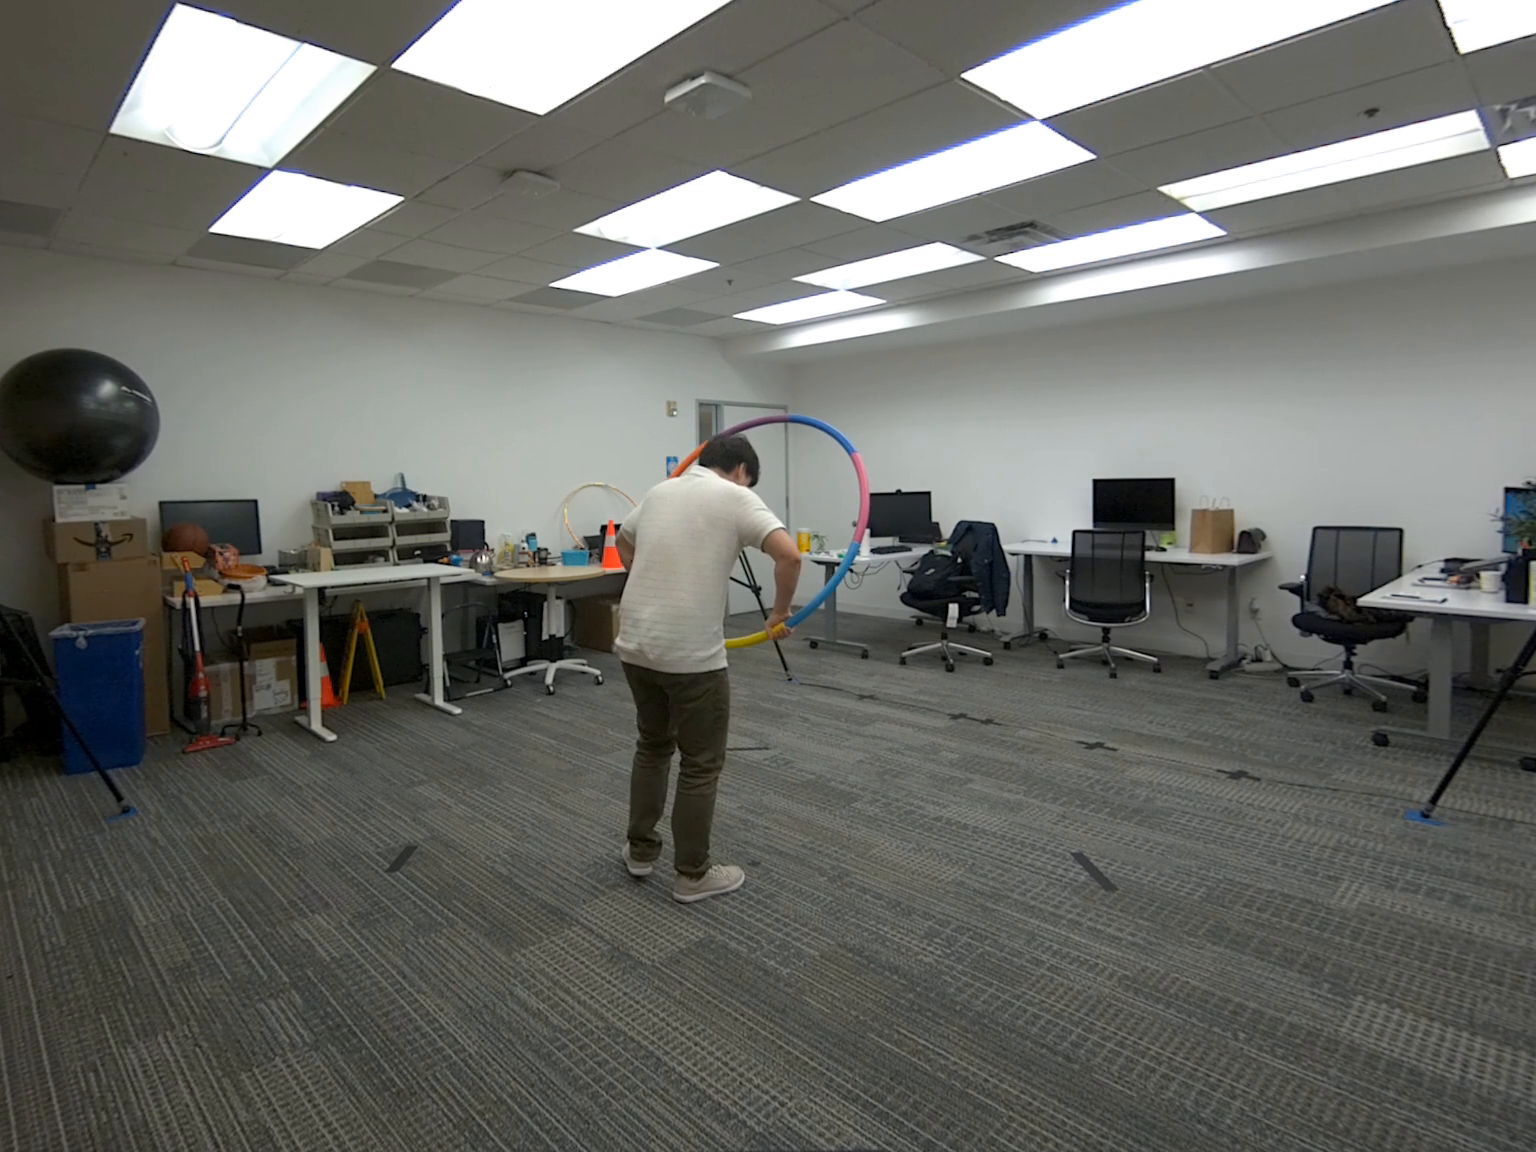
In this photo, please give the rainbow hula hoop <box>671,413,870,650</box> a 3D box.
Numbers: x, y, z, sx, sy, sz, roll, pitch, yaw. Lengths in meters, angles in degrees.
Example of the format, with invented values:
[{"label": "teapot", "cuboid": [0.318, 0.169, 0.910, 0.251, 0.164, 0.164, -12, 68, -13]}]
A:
[{"label": "rainbow hula hoop", "cuboid": [-0.099, -0.190, 3.192, 1.007, 0.990, 0.034, 2, -25, 35]}]
